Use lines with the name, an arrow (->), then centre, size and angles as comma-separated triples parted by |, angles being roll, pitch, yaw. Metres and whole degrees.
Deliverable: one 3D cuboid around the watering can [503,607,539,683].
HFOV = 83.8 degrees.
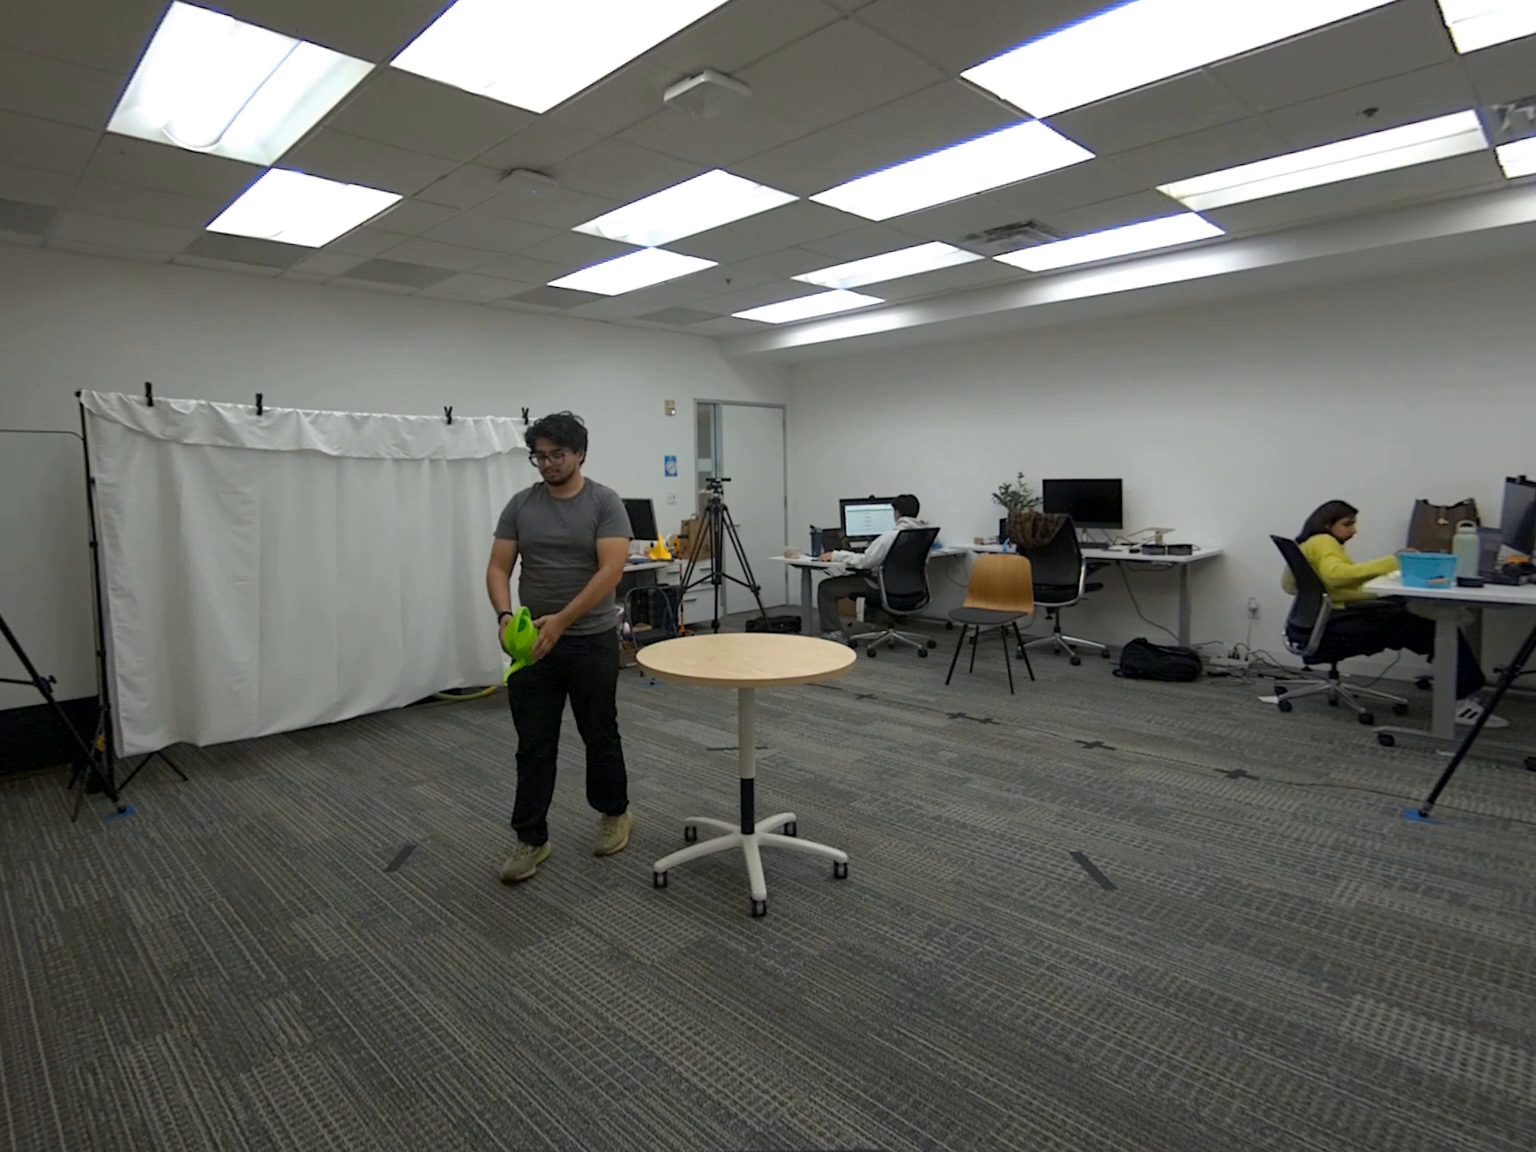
watering can -> -0.823, 0.242, 2.777 | 0.099, 0.282, 0.172 | 12, -27, 10
